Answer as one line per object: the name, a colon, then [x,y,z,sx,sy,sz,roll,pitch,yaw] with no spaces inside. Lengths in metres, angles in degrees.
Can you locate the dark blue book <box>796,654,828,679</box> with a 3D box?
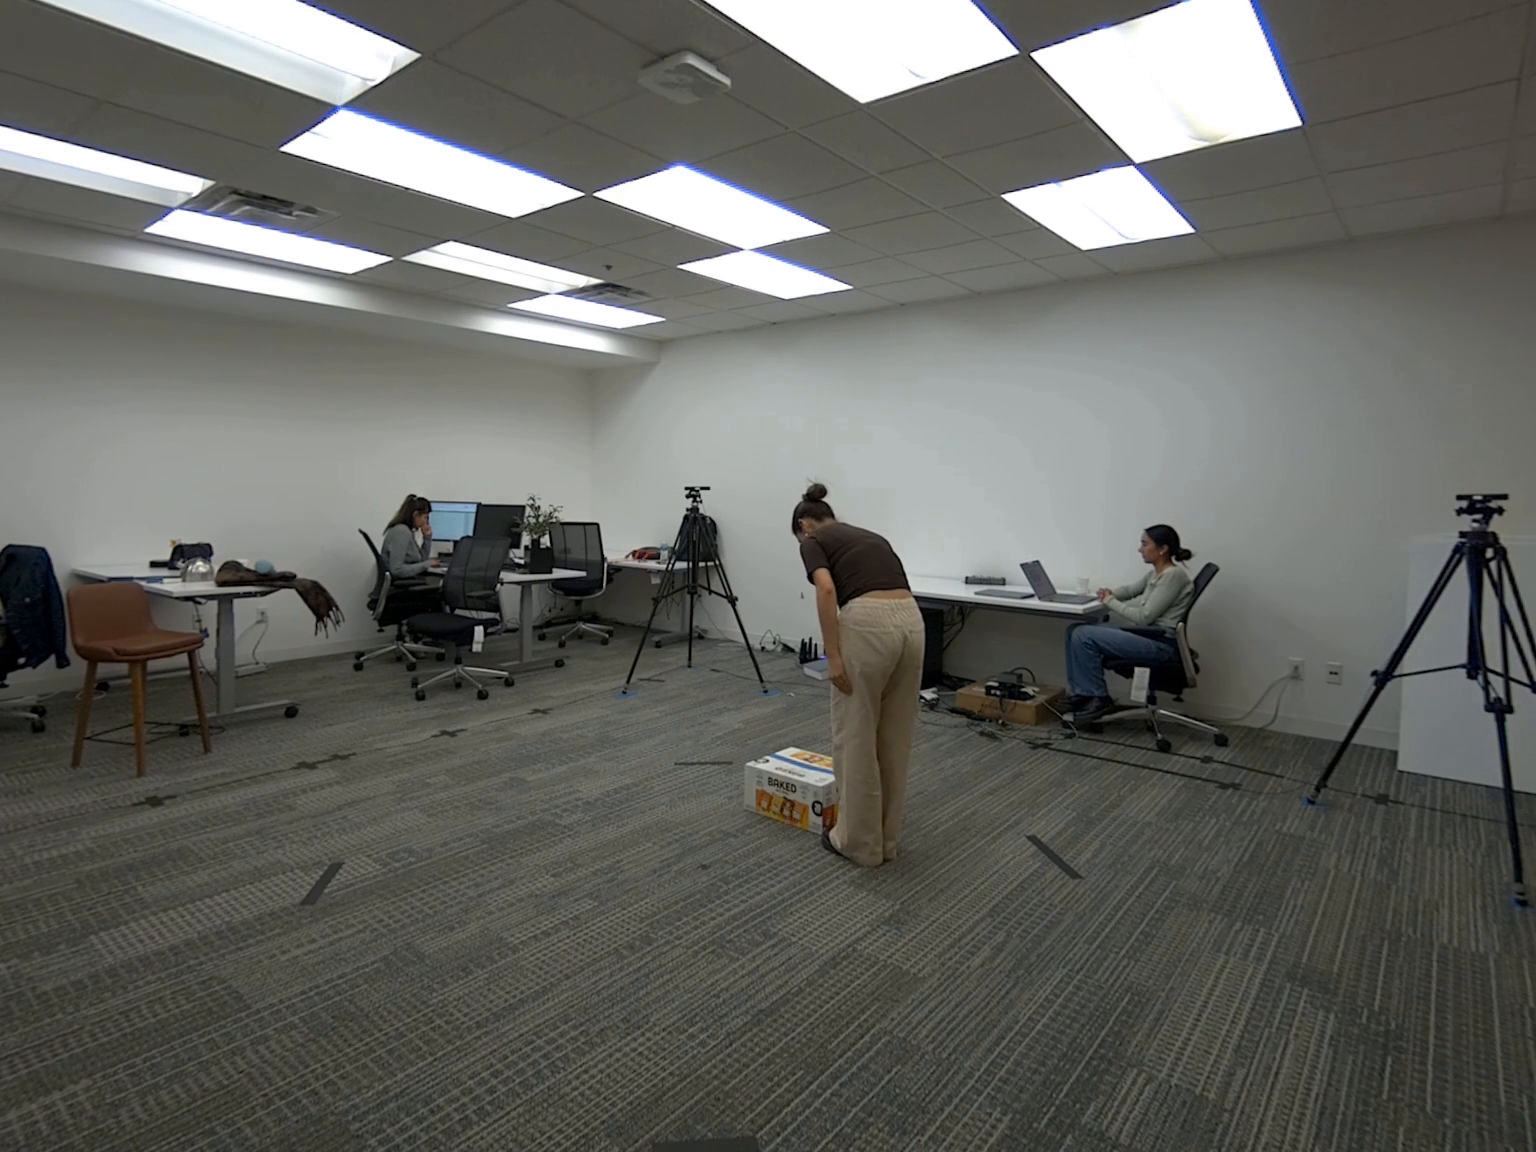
dark blue book: [0.228,0.376,3.581,0.162,0.045,0.247,-11,4,-10]
